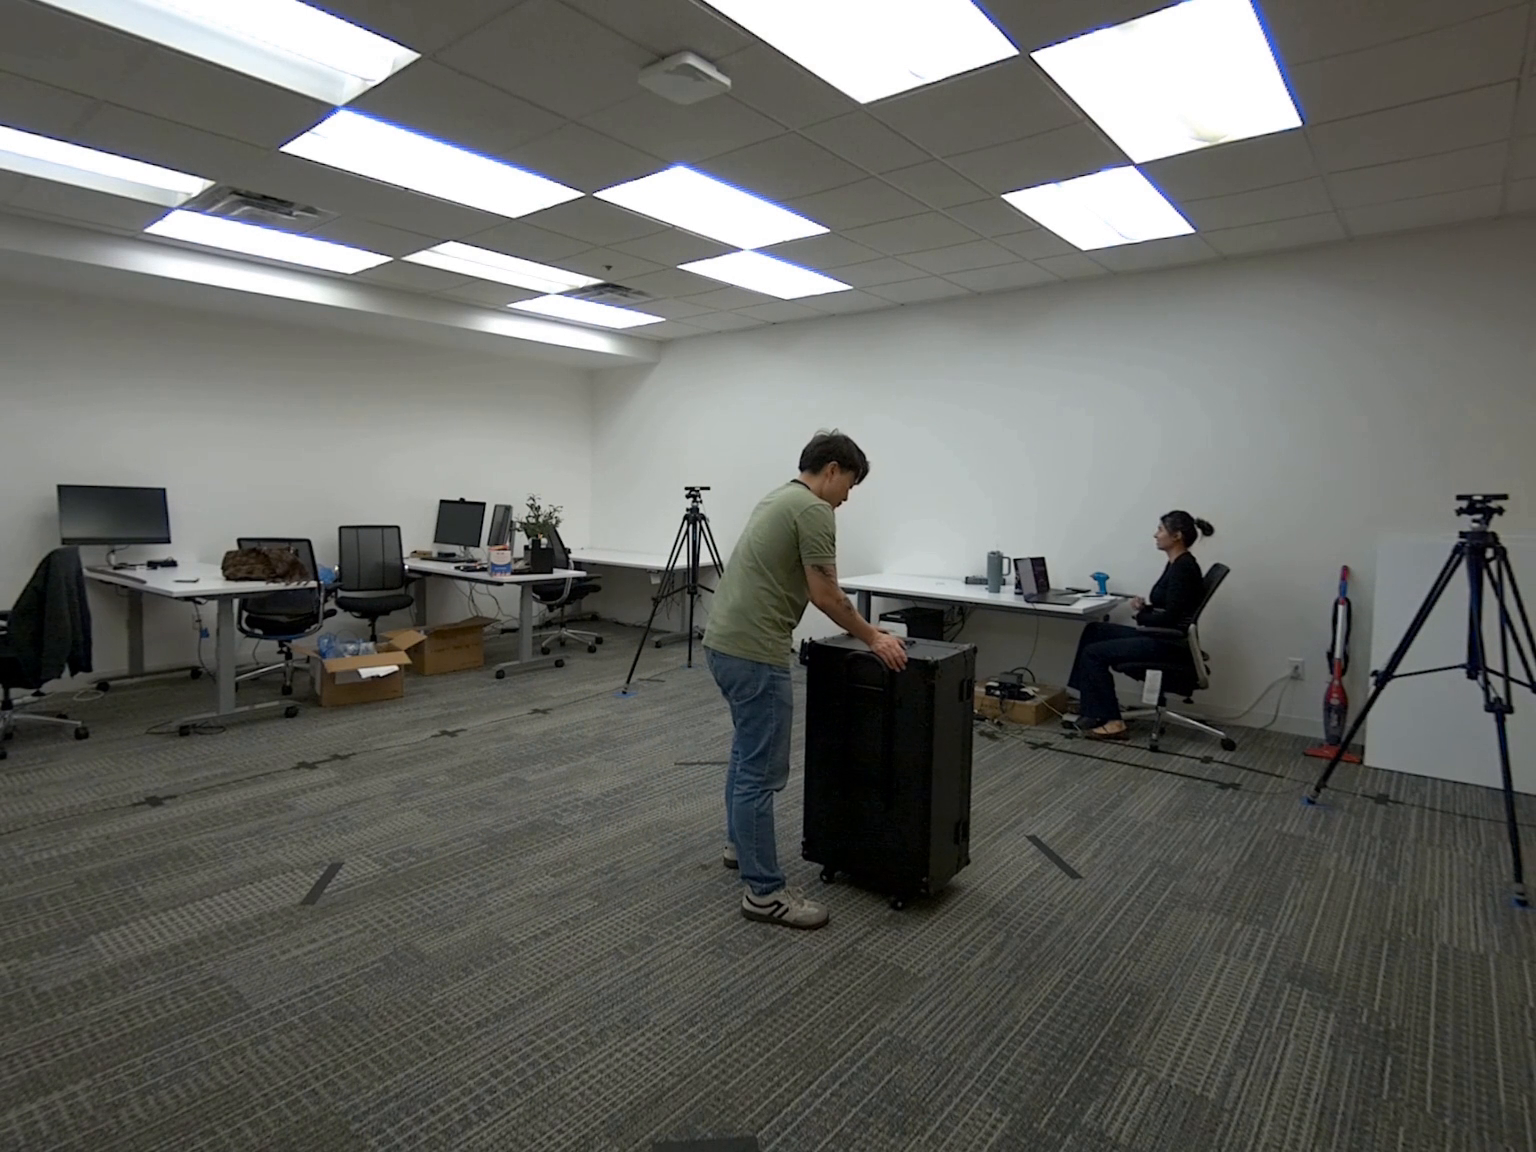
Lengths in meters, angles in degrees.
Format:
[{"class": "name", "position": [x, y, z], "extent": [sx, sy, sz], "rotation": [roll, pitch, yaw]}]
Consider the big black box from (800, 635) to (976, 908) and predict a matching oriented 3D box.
[{"class": "big black box", "position": [0.419, 0.664, 3.003], "extent": [0.538, 0.858, 0.385], "rotation": [3, 5, 36]}]
